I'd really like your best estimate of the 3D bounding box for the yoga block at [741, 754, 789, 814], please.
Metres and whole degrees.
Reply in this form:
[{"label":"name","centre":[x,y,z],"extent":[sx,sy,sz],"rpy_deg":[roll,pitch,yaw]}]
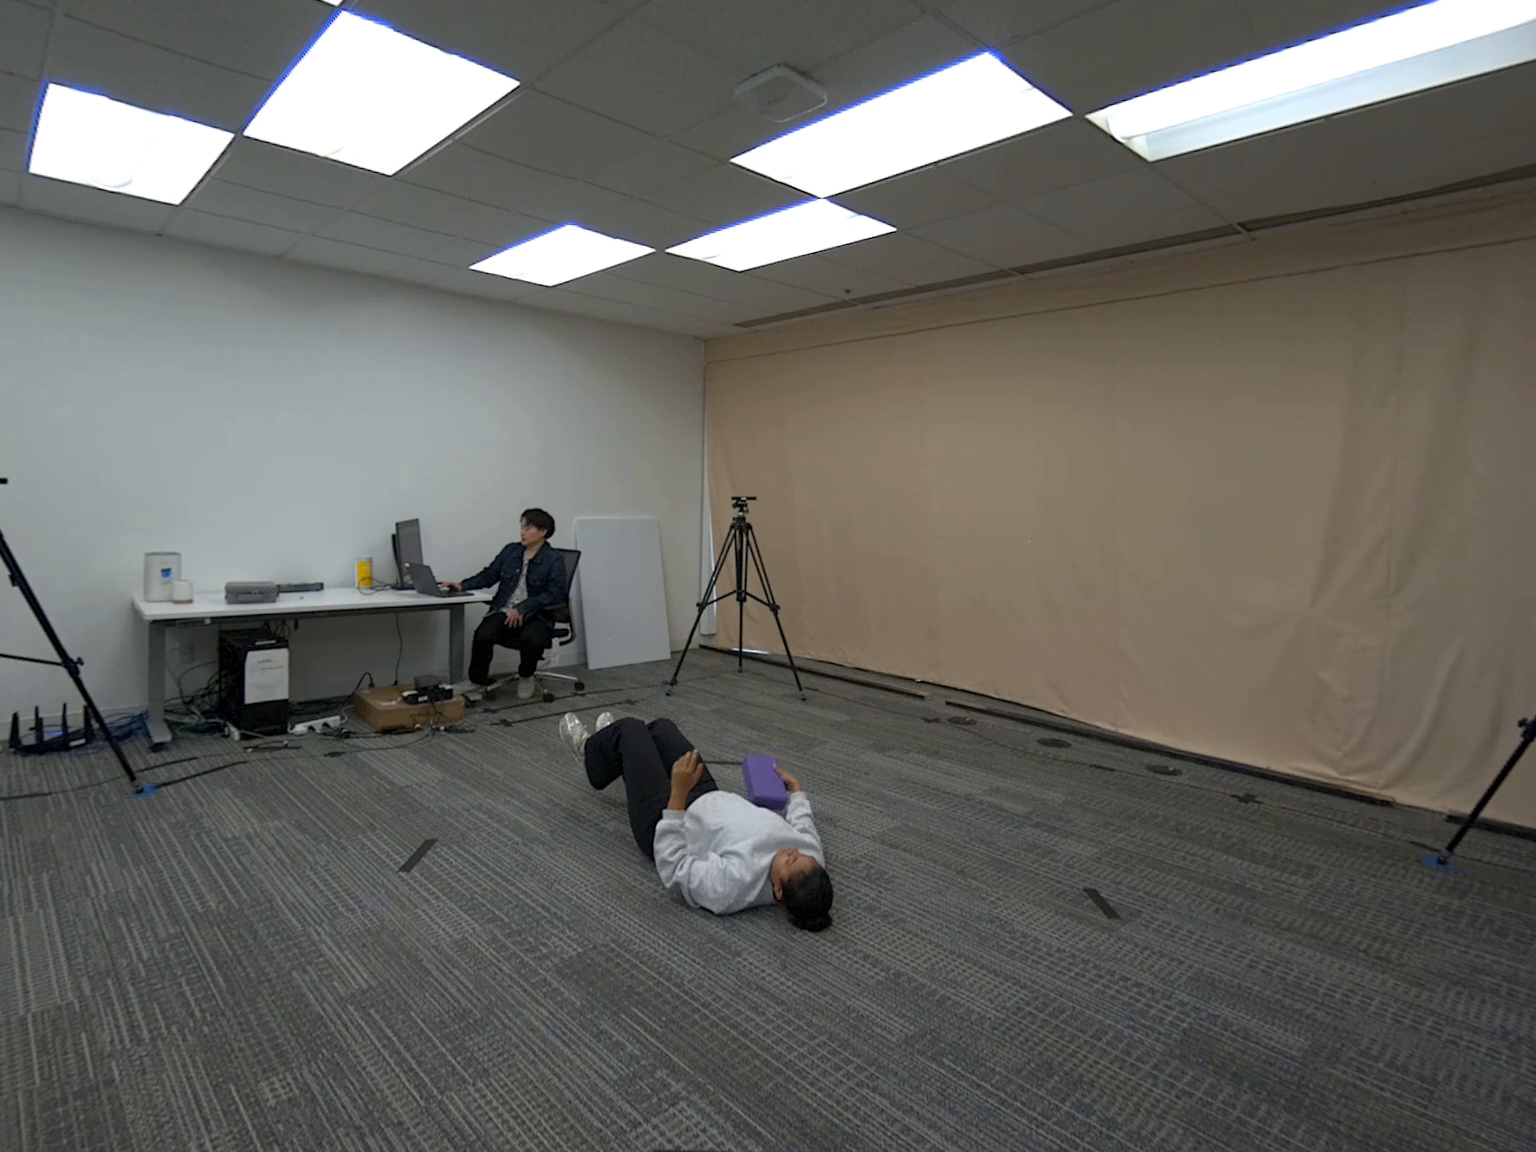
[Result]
[{"label":"yoga block","centre":[-0.020,0.847,3.479],"extent":[0.146,0.076,0.235],"rpy_deg":[11,30,-21]}]
